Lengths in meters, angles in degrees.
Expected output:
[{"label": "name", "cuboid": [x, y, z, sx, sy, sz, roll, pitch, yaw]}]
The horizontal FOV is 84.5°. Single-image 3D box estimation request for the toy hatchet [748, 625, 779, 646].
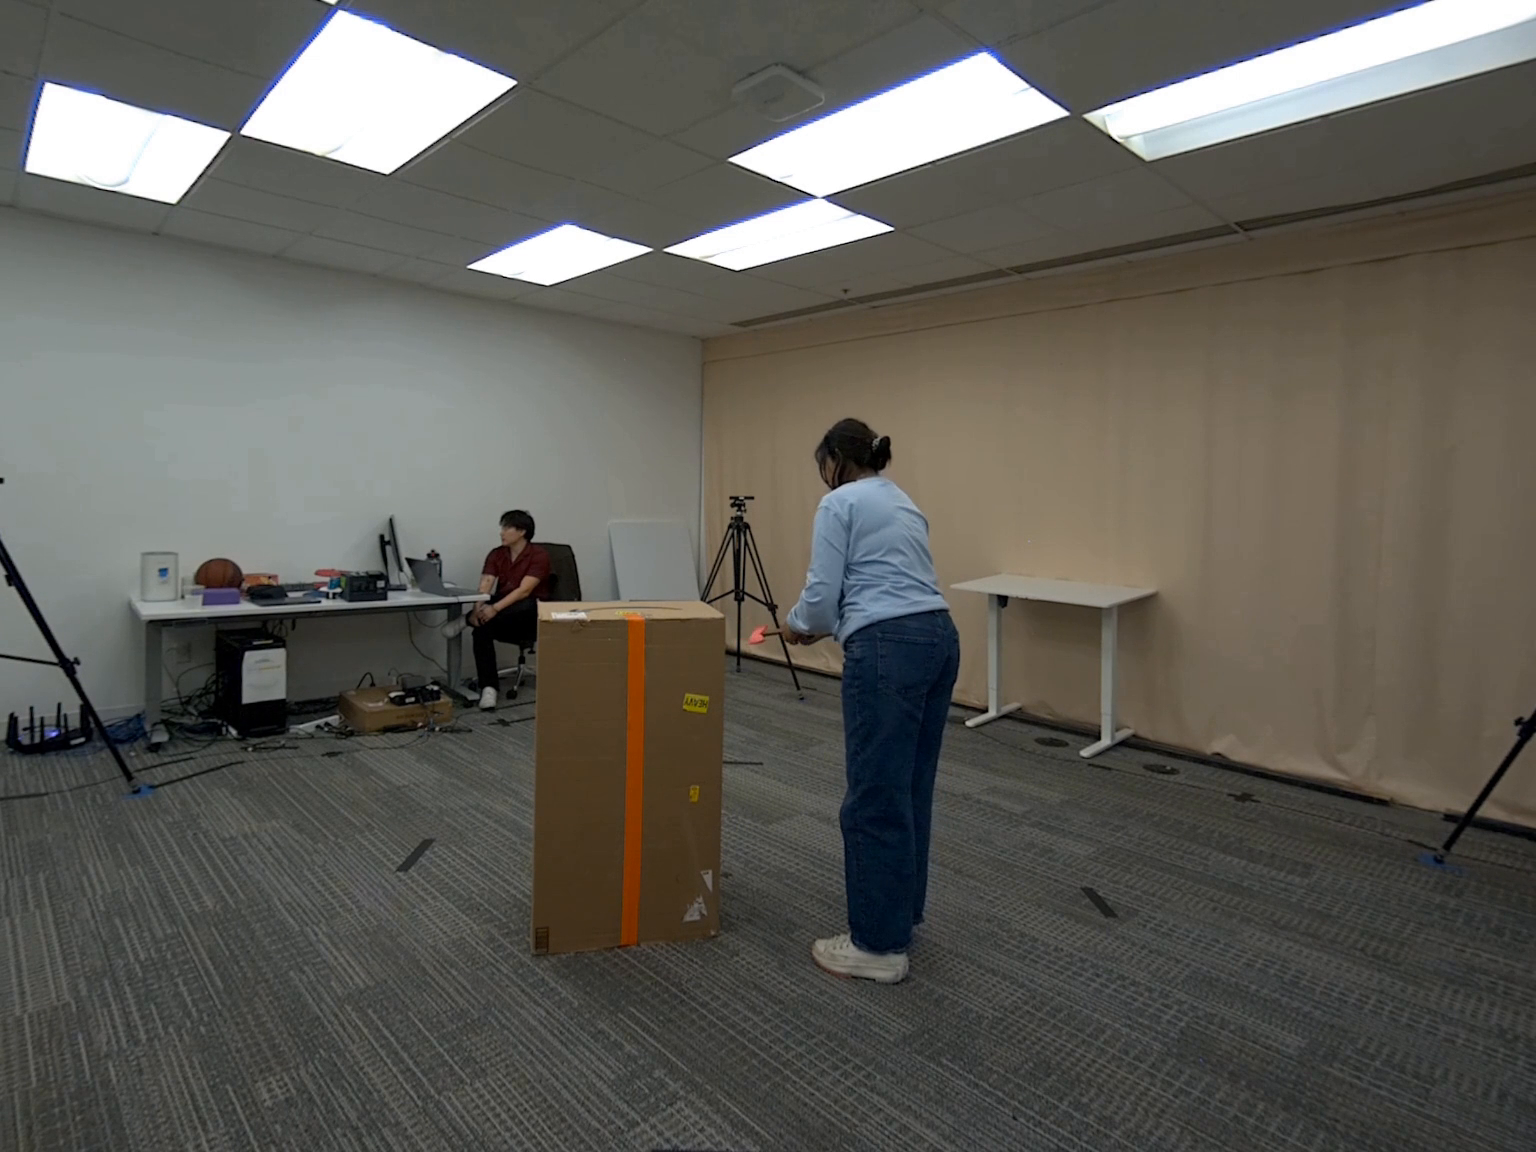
[{"label": "toy hatchet", "cuboid": [0.008, 0.214, 2.927, 0.129, 0.029, 0.276, -27, 17, -33]}]
